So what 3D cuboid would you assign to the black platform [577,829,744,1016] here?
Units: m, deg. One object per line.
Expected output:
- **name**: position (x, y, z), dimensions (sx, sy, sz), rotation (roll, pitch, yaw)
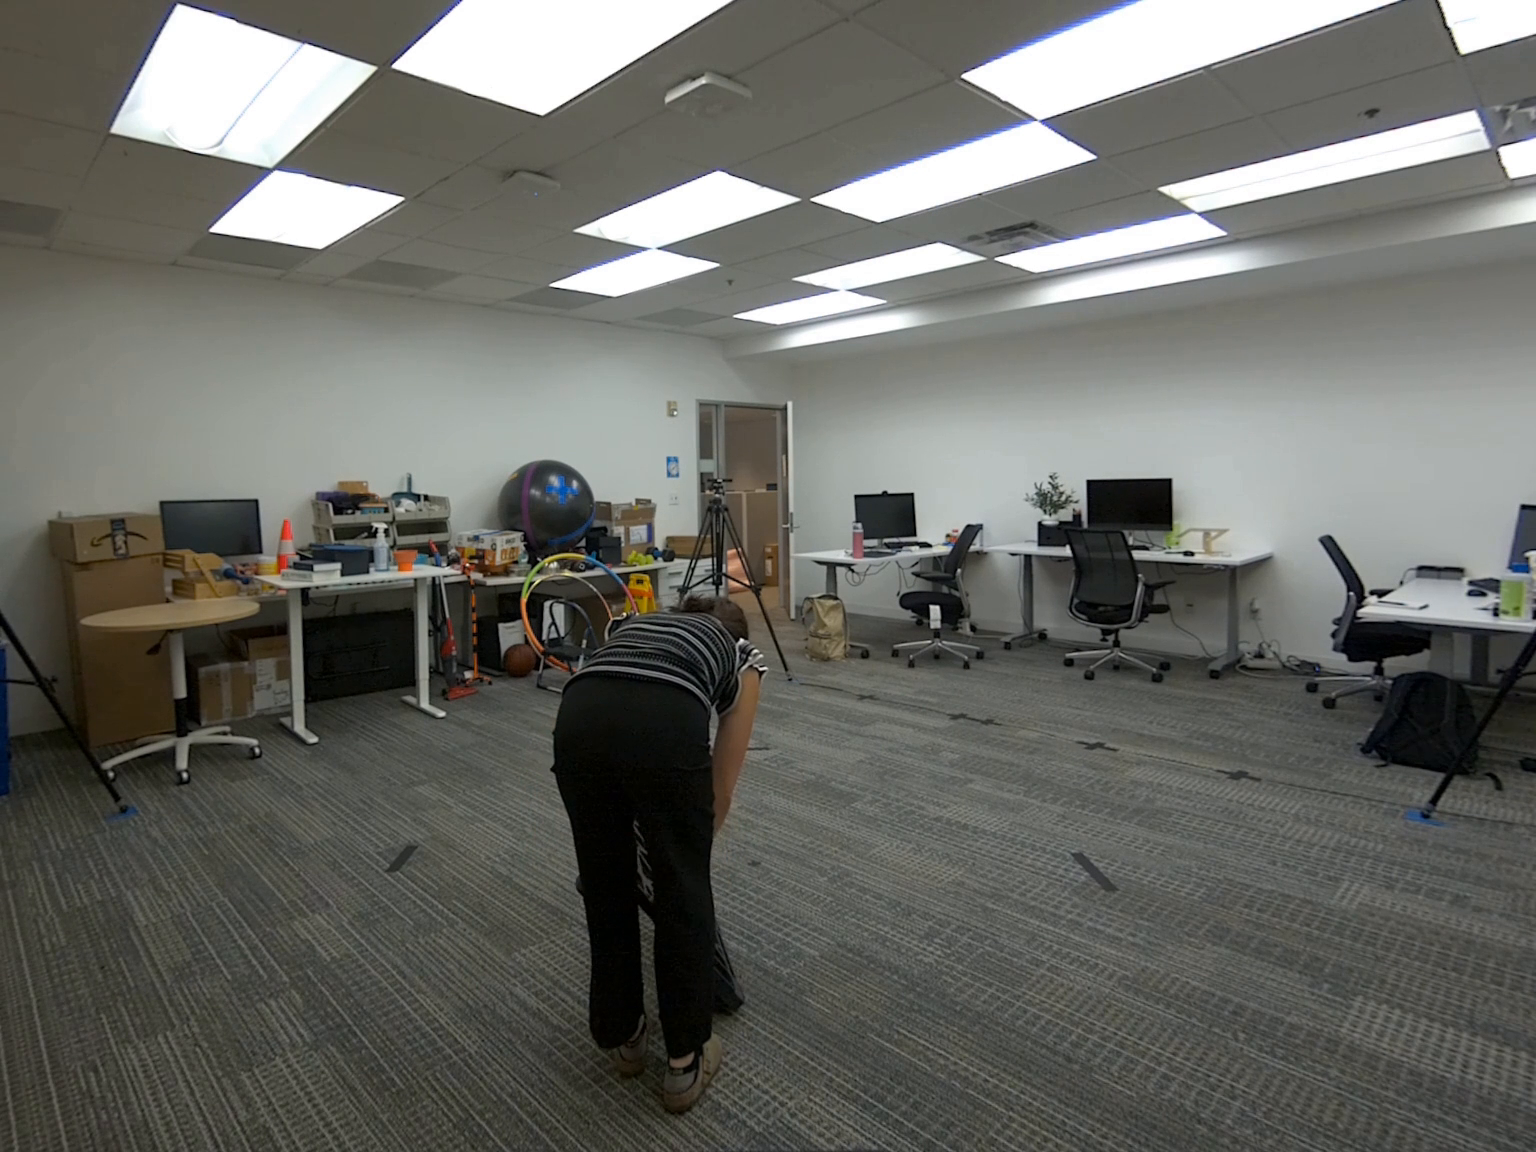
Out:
- **black platform**: position (-0.379, 0.888, 2.560), dimensions (0.143, 0.597, 0.818), rotation (-40, 12, -6)
